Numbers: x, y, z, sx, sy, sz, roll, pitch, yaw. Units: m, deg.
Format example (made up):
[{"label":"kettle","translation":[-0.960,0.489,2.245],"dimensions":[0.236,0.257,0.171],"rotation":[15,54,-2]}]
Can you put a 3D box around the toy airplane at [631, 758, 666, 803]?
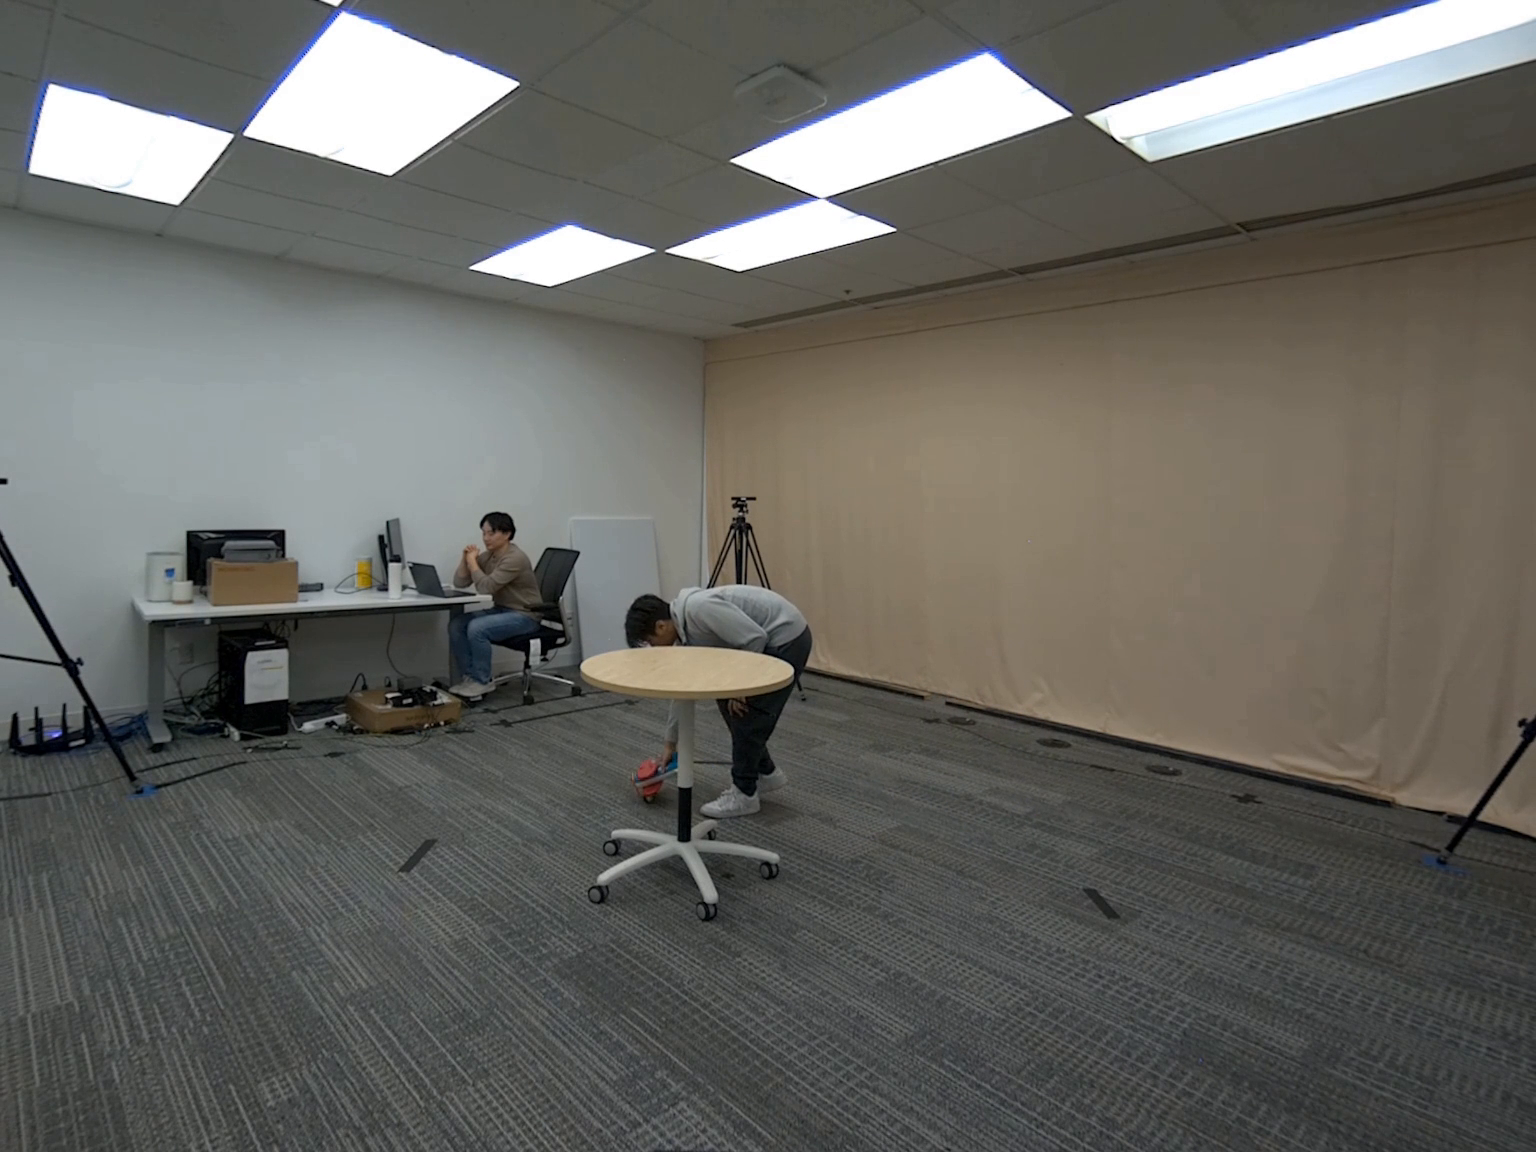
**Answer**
[{"label":"toy airplane","translation":[-0.501,0.912,3.879],"dimensions":[0.258,0.156,0.254],"rotation":[-36,7,-28]}]
